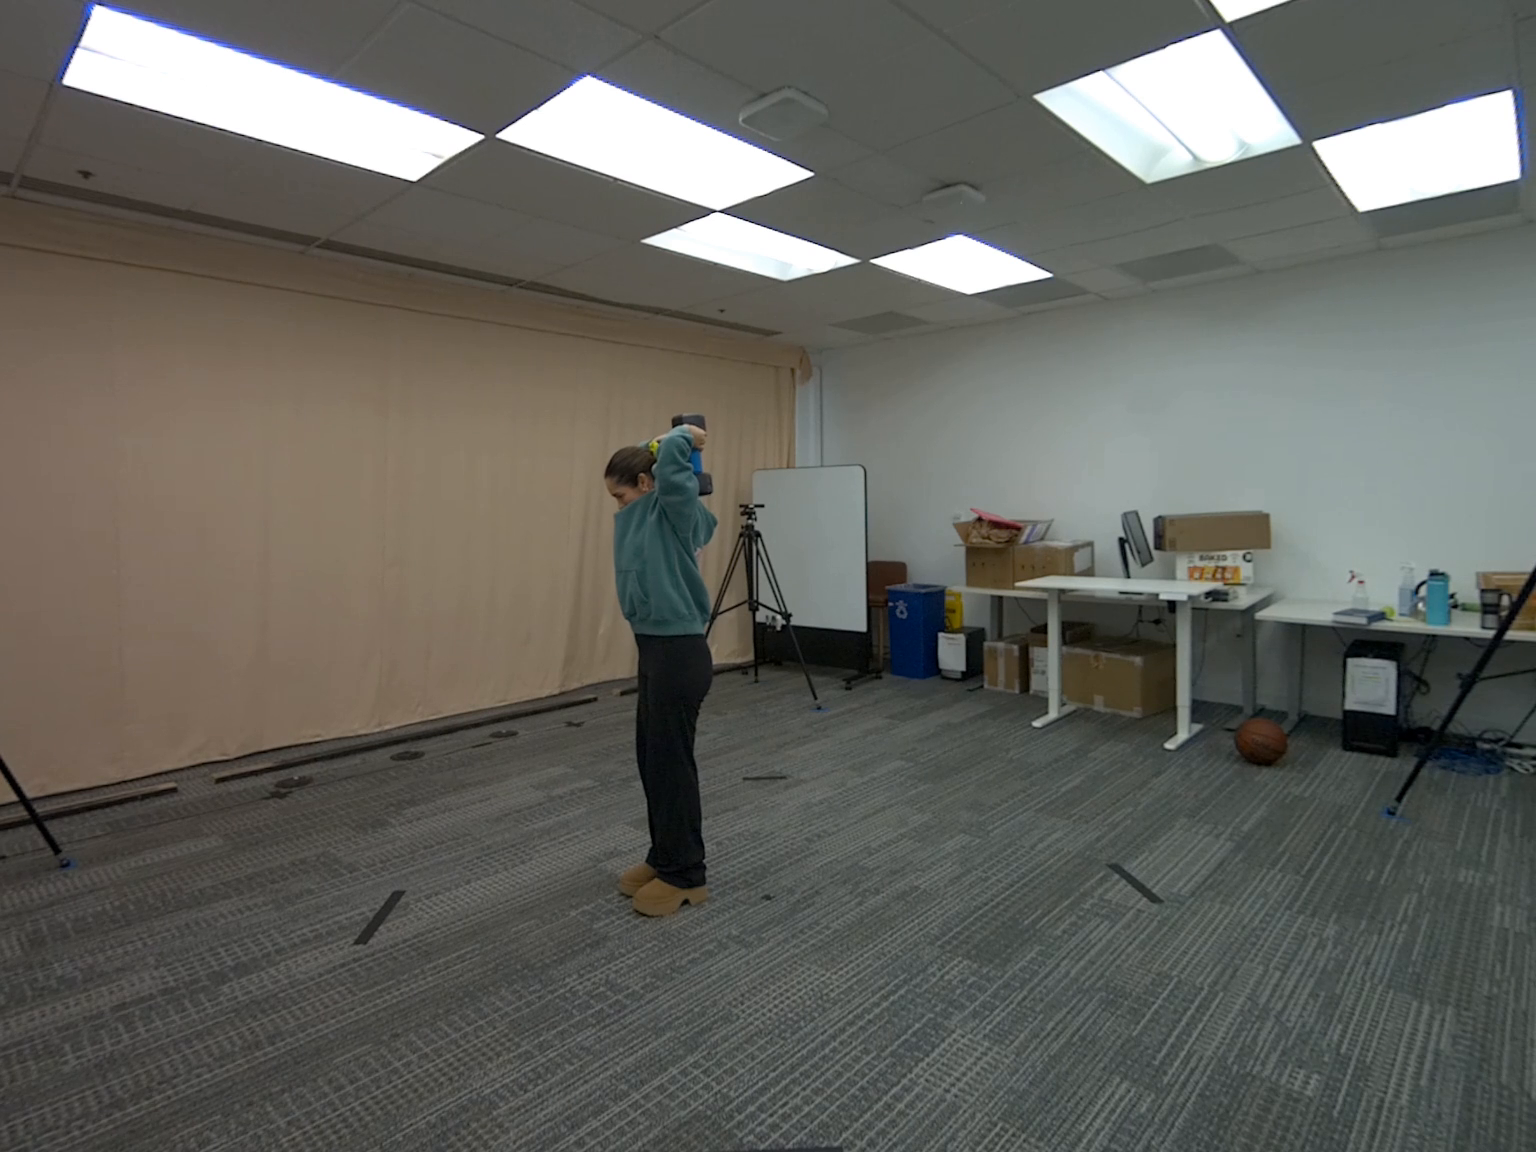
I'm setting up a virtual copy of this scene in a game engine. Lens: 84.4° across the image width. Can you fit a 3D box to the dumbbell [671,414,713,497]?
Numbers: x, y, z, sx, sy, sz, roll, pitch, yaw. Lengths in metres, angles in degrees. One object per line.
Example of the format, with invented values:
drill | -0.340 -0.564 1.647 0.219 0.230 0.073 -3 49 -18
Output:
dumbbell | -0.274 -0.430 2.998 0.121 0.293 0.111 -9 4 -20
